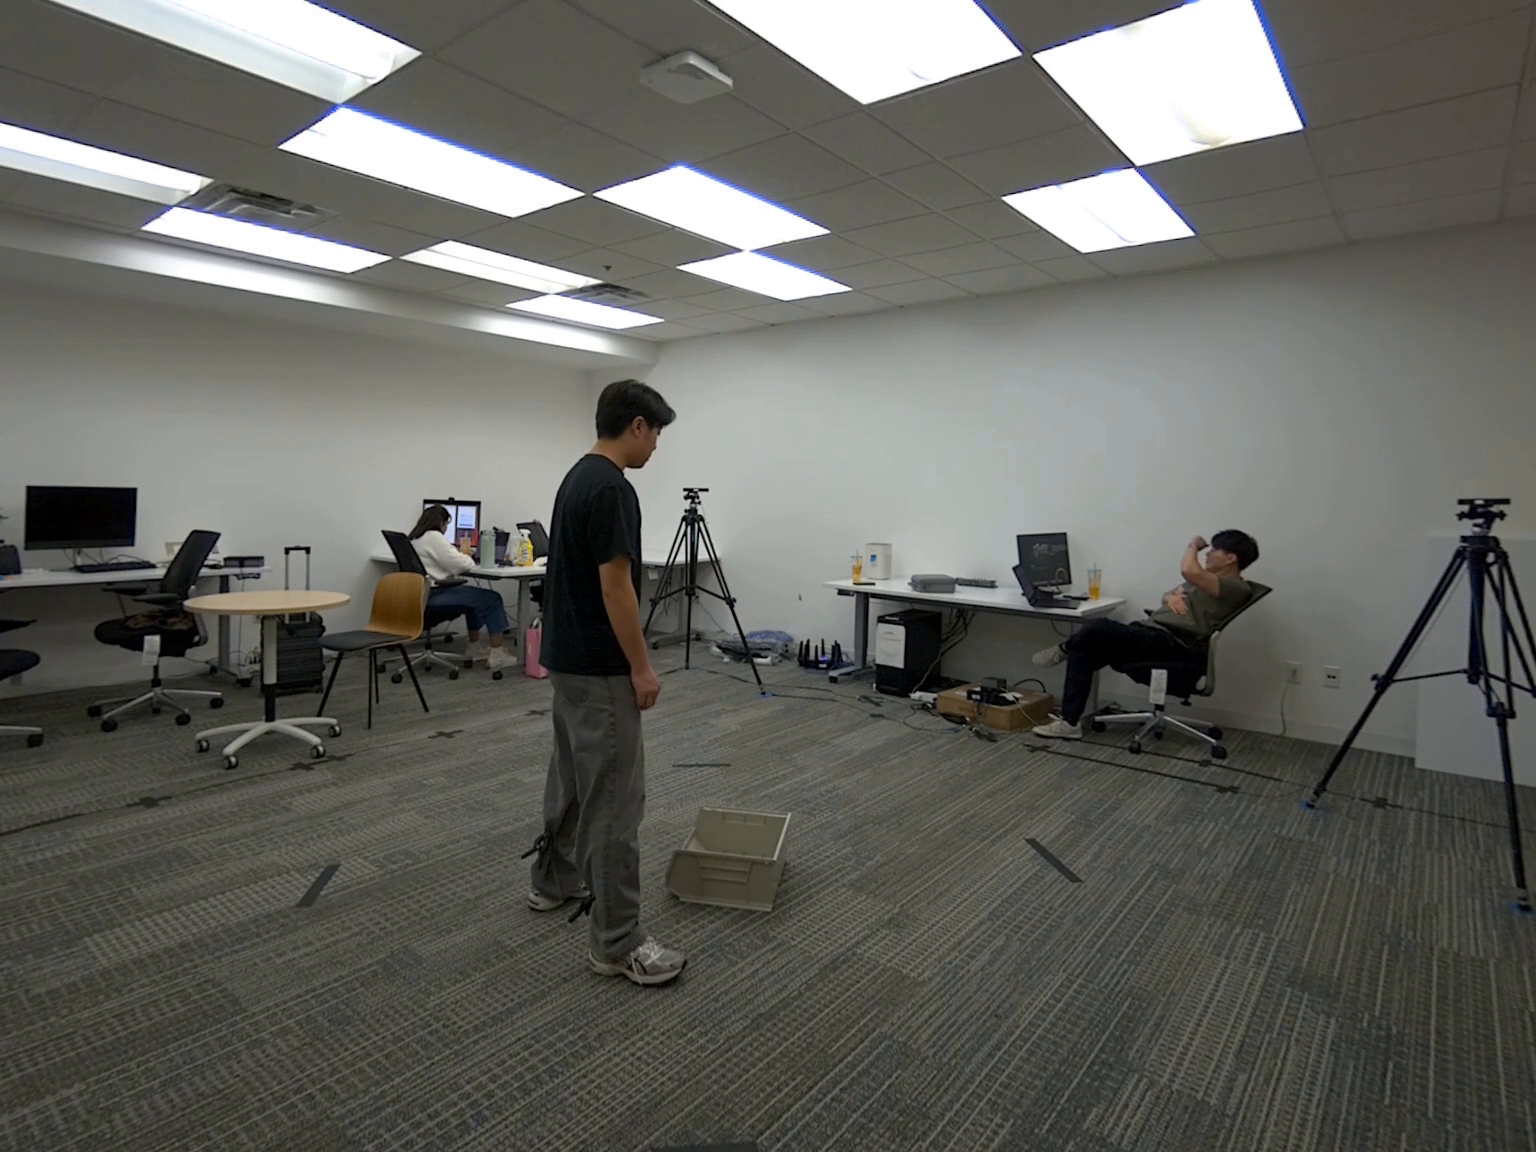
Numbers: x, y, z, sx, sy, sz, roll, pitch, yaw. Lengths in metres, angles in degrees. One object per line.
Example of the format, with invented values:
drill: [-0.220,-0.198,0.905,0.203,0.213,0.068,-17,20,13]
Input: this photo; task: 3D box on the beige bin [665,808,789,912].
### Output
beige bin: [-0.139,0.992,3.027,0.382,0.188,0.419,3,5,9]
